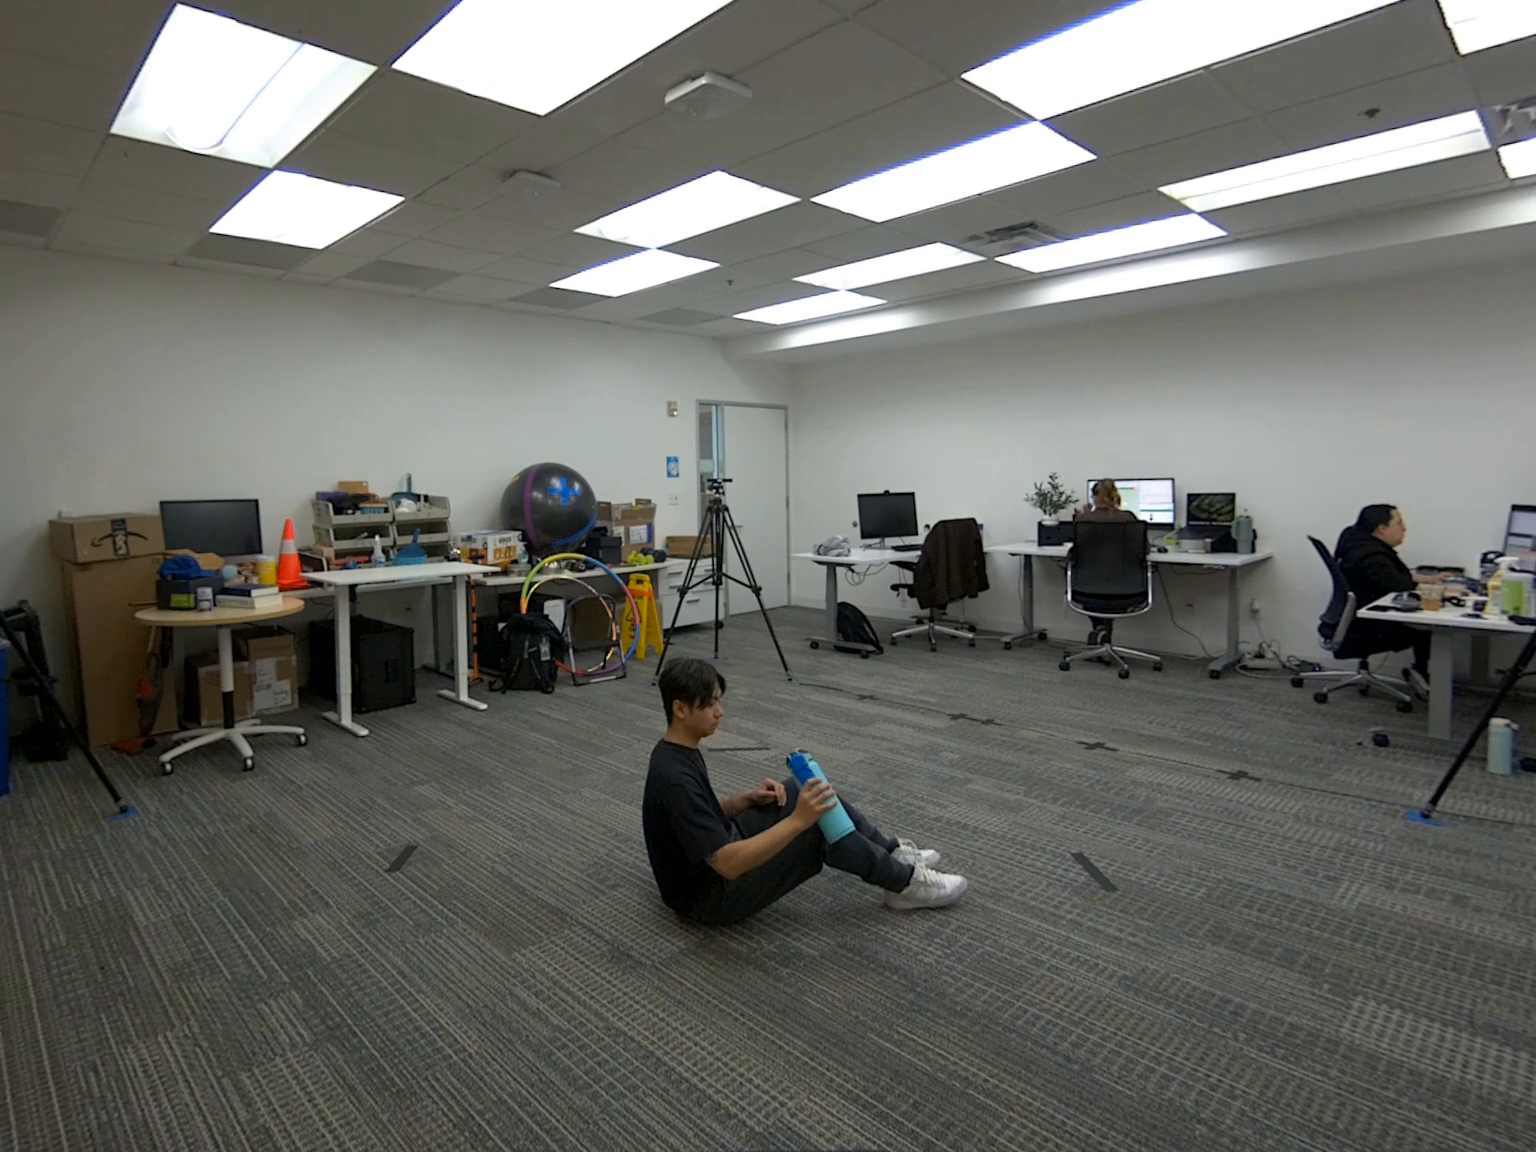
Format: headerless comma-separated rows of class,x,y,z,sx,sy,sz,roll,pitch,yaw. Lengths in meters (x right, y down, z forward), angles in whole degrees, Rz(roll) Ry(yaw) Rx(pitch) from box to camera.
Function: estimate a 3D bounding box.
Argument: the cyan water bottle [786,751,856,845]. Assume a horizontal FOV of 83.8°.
cyan water bottle,0.155,0.645,2.542,0.092,0.290,0.090,-27,-20,-12
